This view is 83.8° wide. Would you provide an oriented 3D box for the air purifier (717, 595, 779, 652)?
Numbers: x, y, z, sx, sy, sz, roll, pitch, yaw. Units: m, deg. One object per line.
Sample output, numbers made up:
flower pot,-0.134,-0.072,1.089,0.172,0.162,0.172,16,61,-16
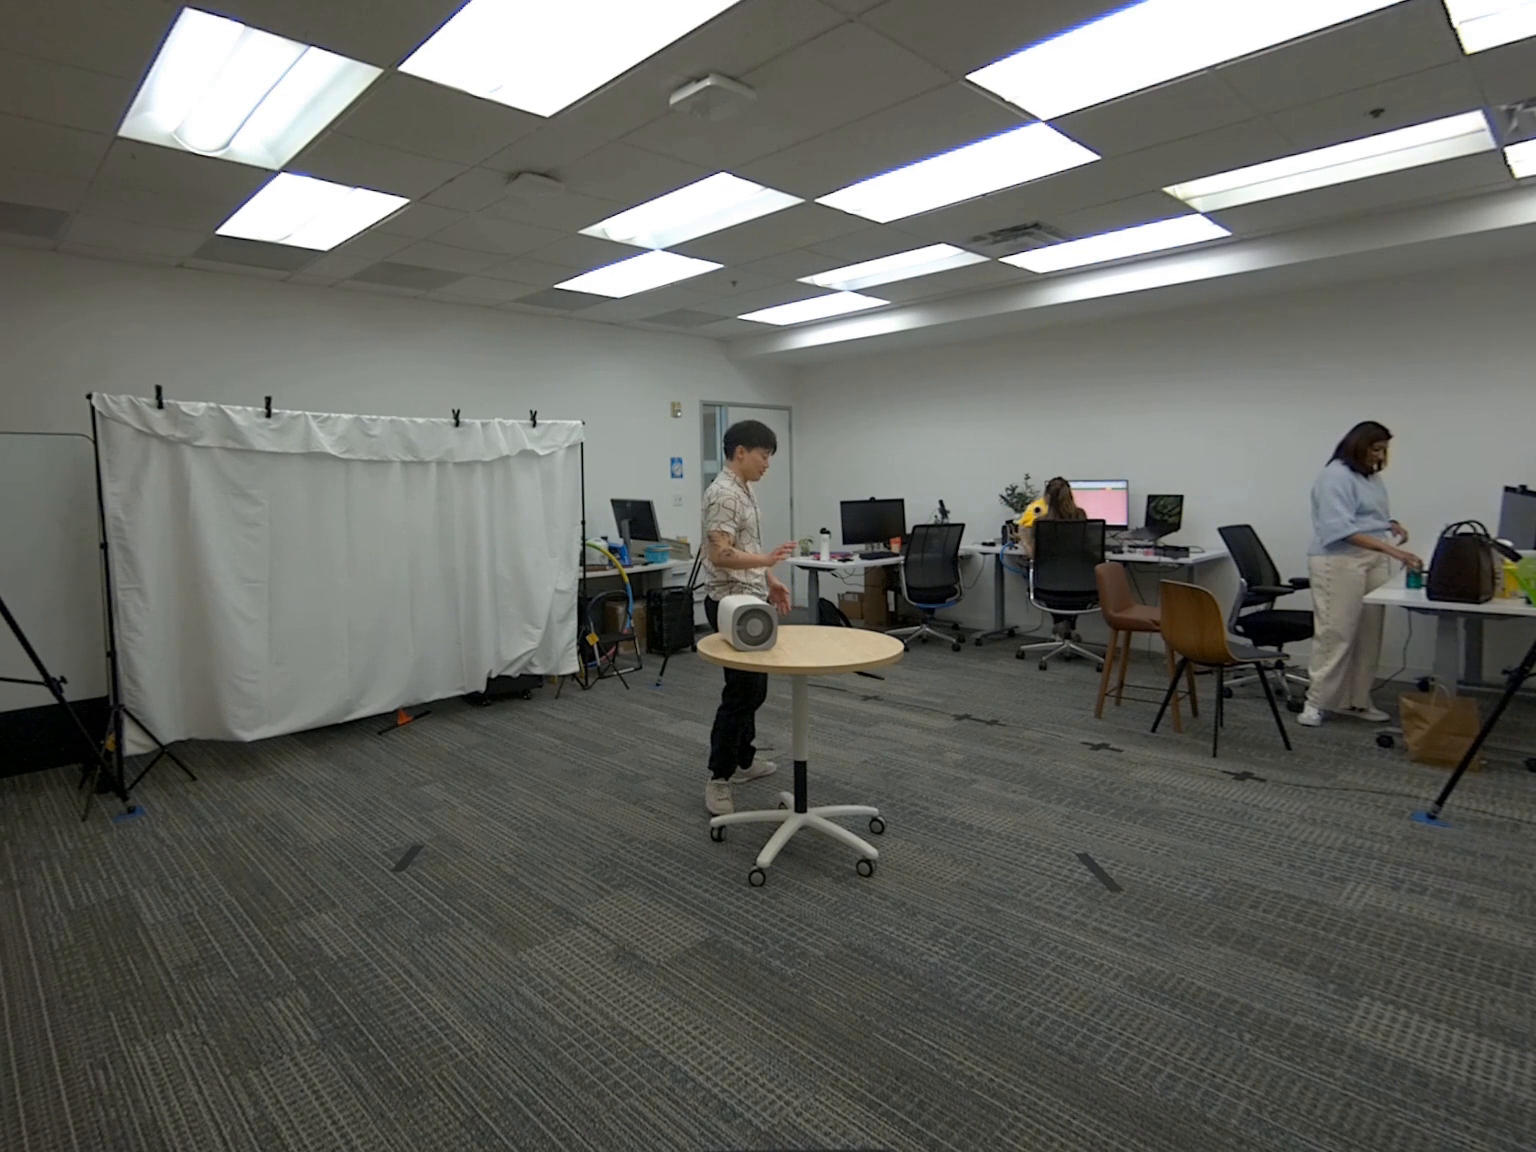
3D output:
air purifier,-0.085,0.170,3.180,0.169,0.170,0.270,-2,7,-15
